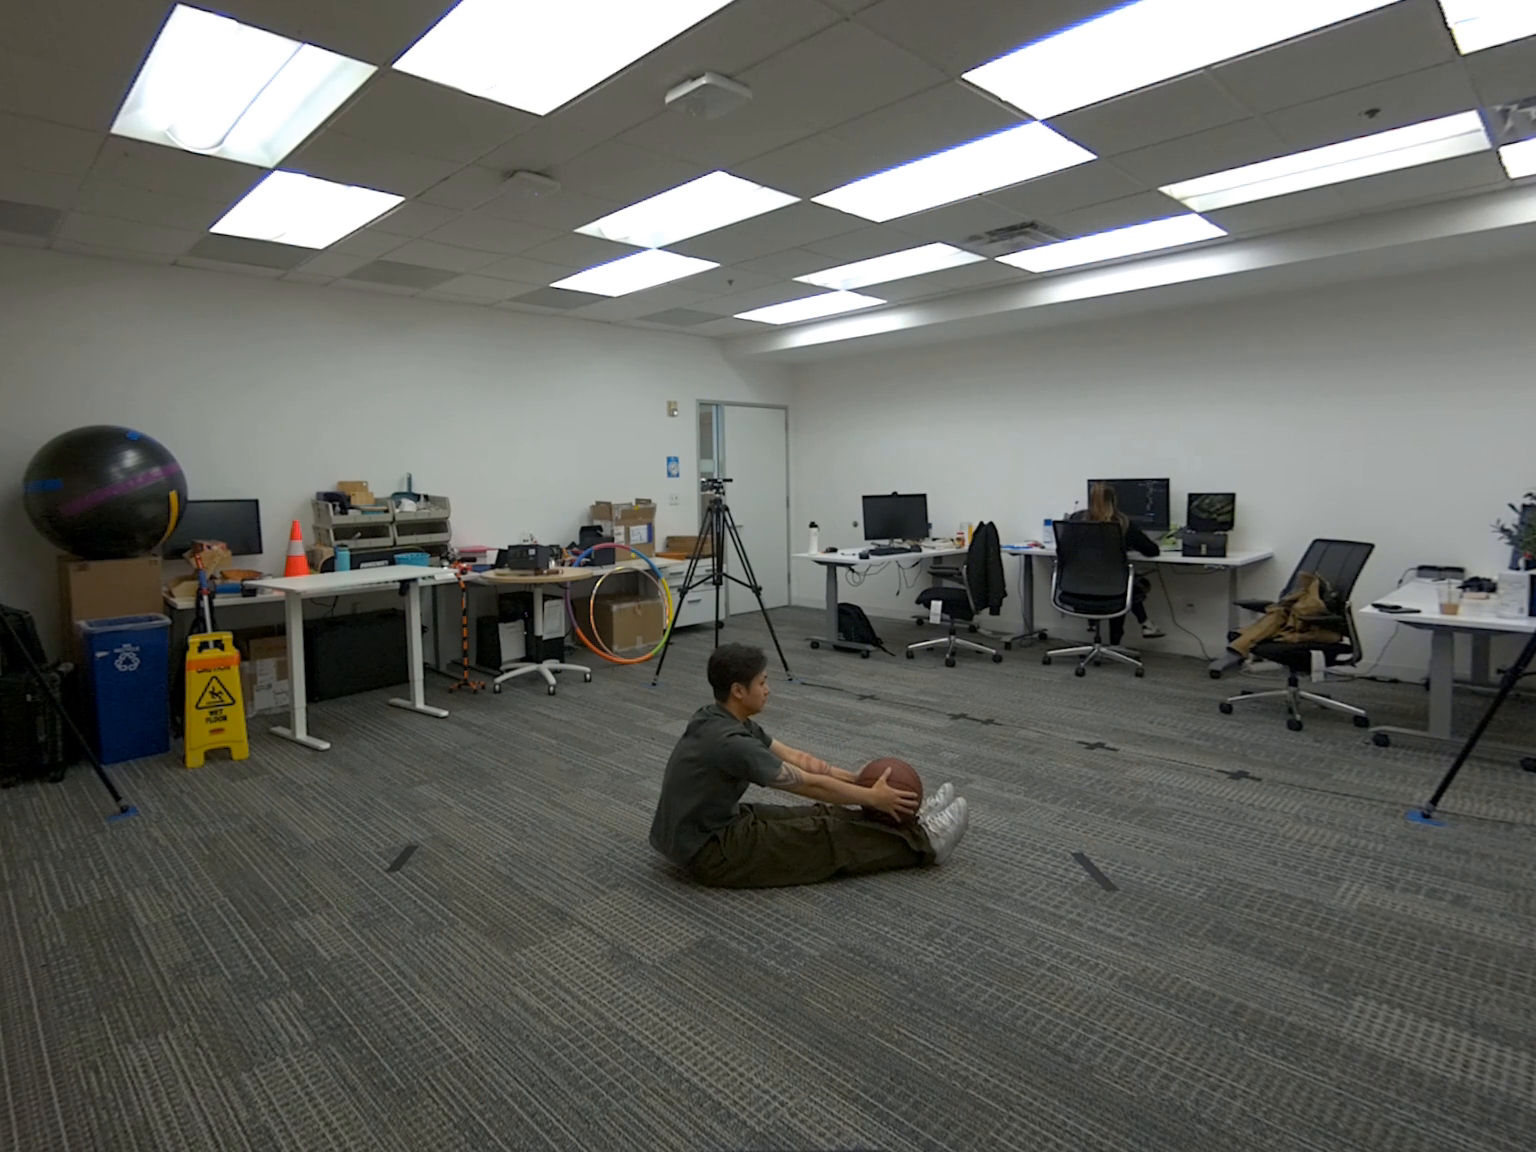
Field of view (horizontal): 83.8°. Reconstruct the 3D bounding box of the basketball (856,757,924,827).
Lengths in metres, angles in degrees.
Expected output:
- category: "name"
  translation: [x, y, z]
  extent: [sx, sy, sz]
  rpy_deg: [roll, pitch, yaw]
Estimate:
- category: "basketball"
  translation: [0.447, 0.776, 3.118]
  extent: [0.236, 0.235, 0.237]
  rpy_deg: [-1, 5, -2]
